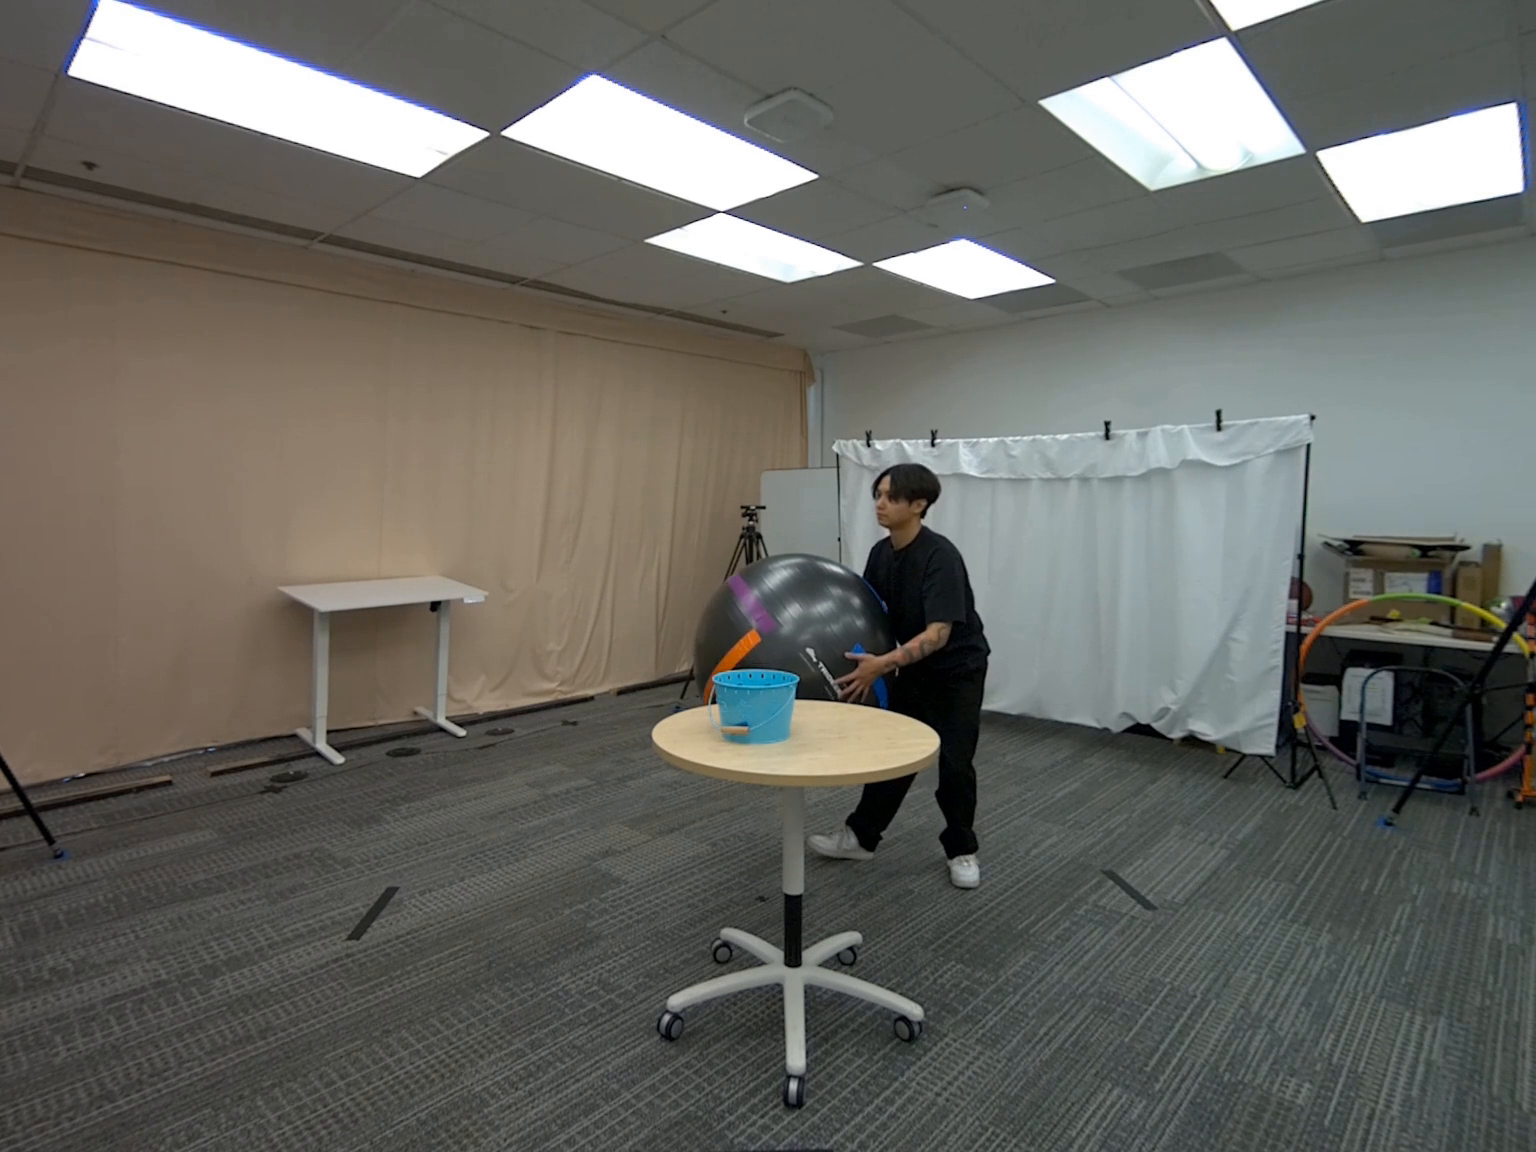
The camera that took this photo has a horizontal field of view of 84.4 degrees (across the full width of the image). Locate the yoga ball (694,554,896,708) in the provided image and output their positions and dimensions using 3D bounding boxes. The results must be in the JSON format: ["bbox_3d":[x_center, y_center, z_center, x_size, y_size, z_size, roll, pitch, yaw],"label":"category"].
[{"bbox_3d":[0.090,0.305,3.161,0.757,0.756,0.760,0,4,-2],"label":"yoga ball"}]
